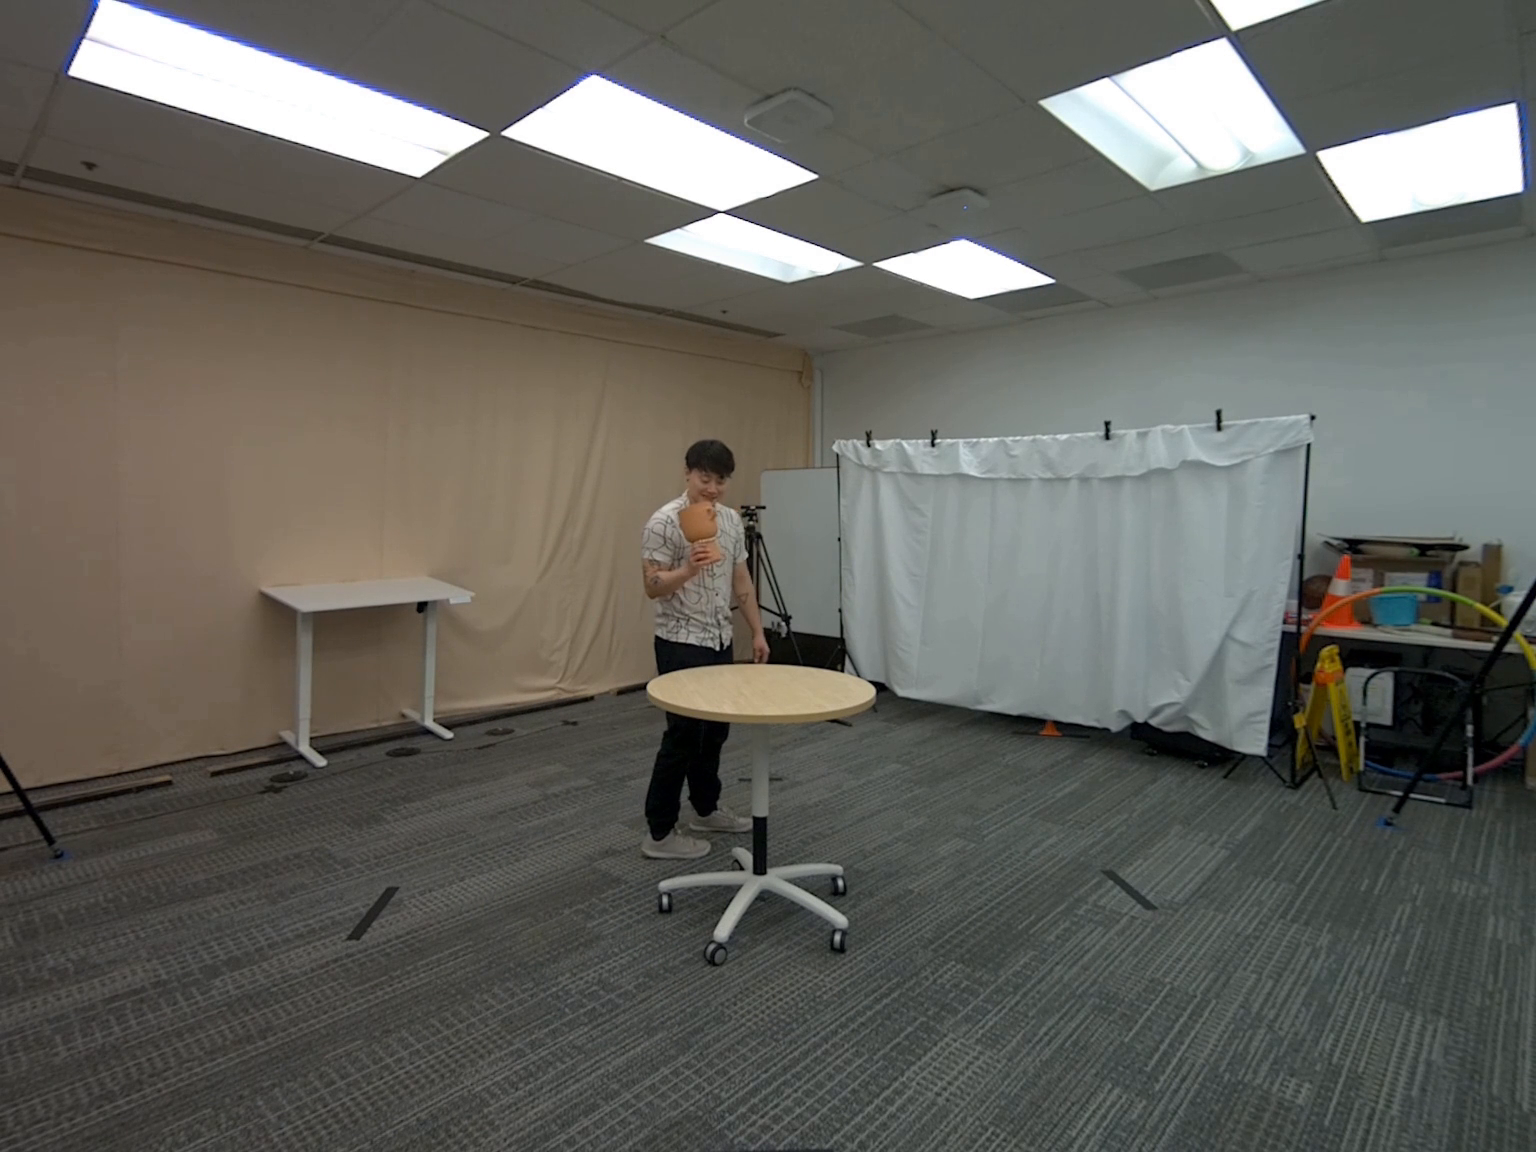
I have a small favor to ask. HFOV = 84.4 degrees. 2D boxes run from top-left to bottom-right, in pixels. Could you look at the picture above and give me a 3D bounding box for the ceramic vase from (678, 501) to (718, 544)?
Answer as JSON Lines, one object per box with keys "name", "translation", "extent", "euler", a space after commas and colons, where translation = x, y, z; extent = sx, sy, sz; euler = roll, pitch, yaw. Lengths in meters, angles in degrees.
{"name": "ceramic vase", "translation": [-0.248, -0.154, 3.147], "extent": [0.133, 0.221, 0.159], "euler": [-15, -5, -11]}
